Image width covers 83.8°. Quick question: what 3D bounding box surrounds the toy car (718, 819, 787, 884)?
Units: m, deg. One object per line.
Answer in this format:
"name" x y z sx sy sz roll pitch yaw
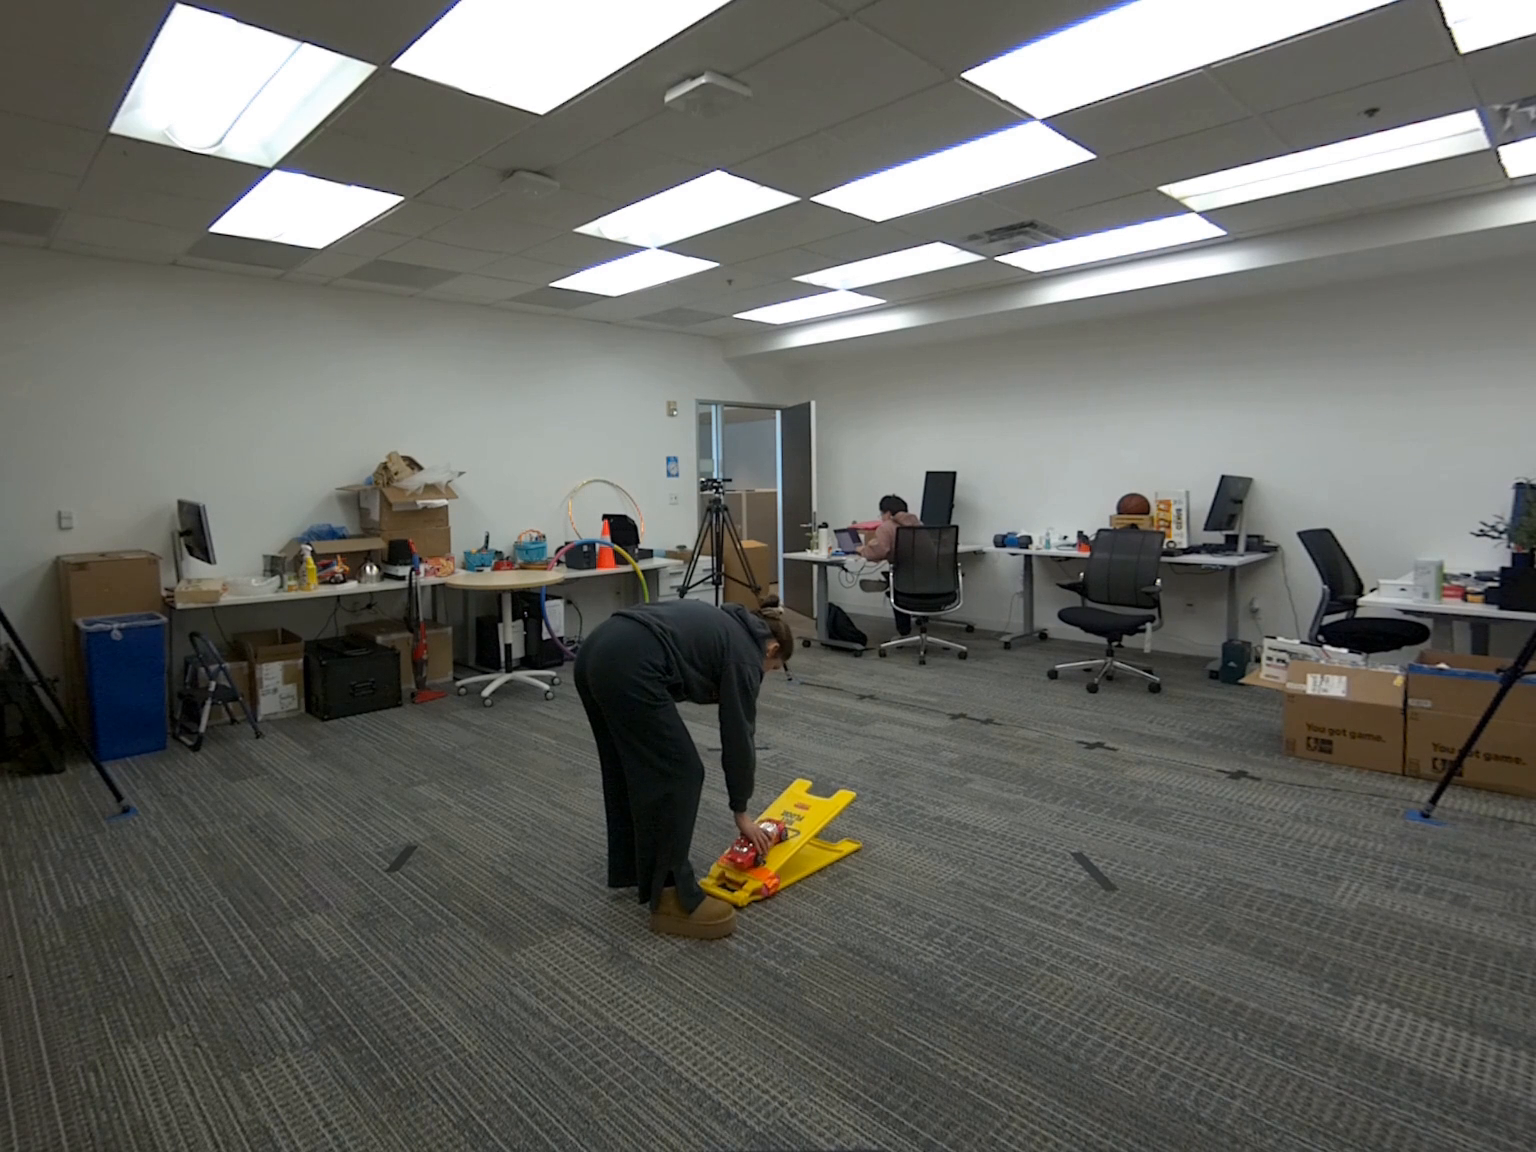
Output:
"toy car" -0.039 0.937 2.953 0.134 0.082 0.249 3 14 39
